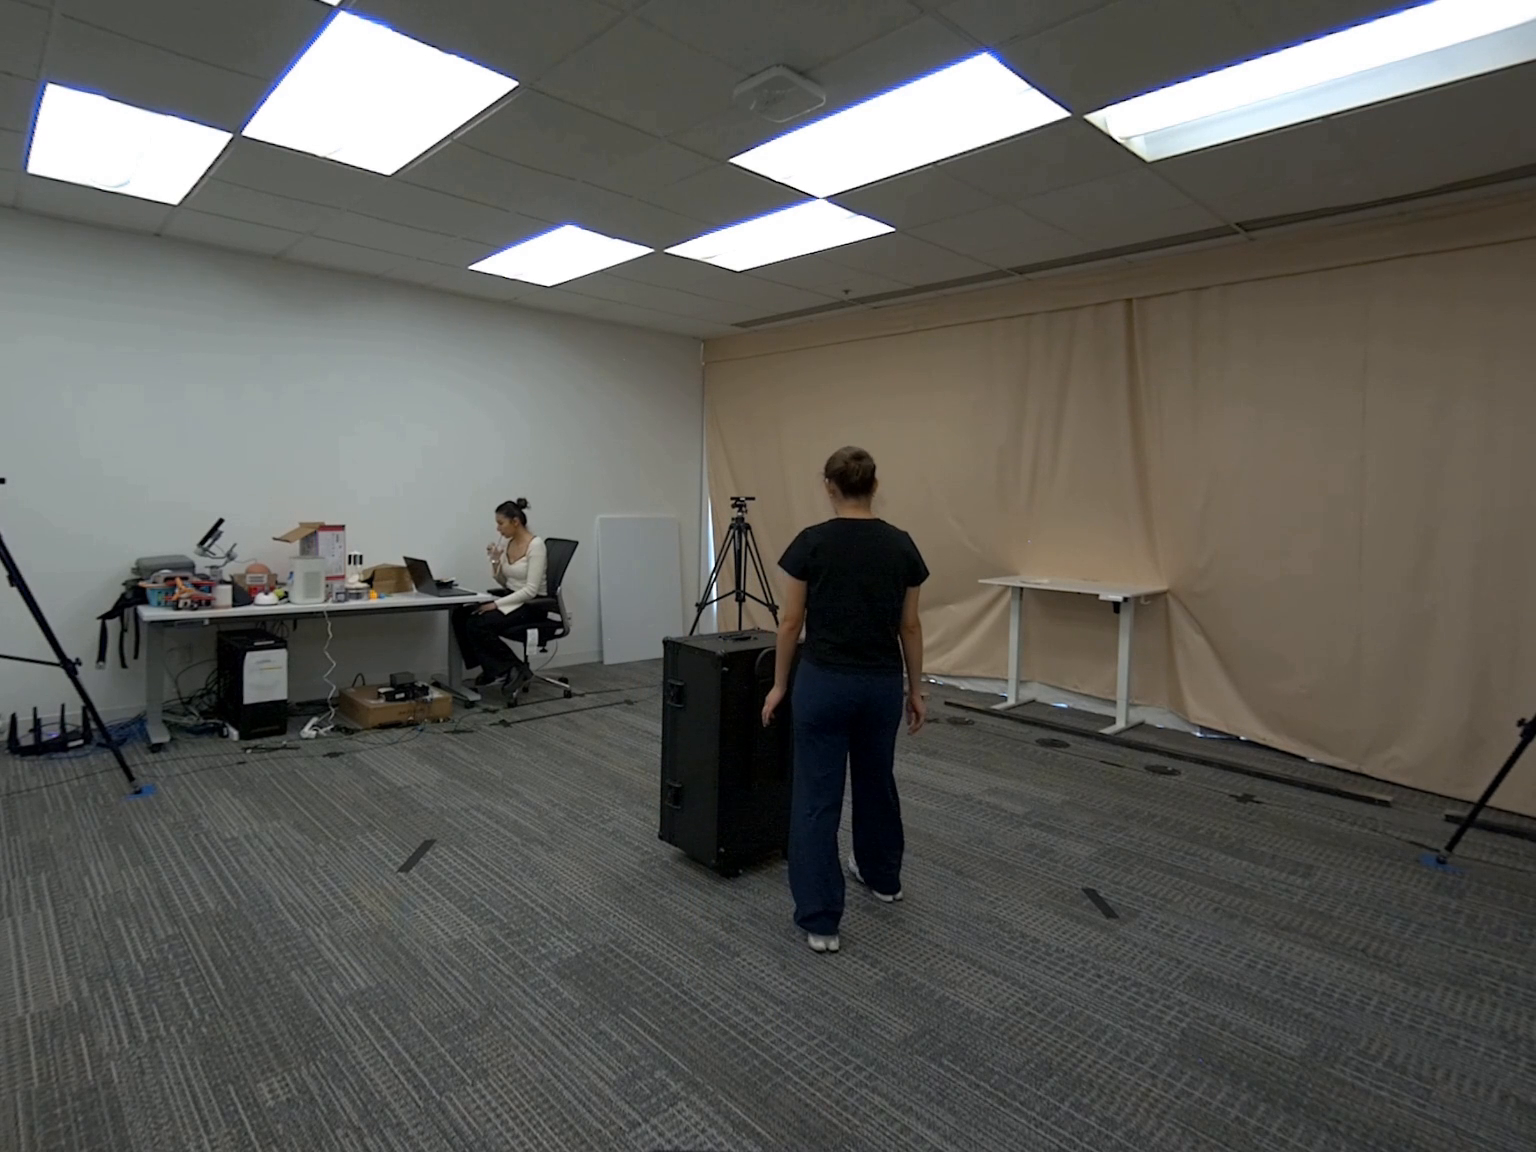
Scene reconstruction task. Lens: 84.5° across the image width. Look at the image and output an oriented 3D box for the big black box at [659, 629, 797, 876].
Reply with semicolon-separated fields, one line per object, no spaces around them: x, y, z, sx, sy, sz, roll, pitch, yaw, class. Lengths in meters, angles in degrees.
-0.111;0.673;3.240;0.509;0.859;0.406;-1;5;-42;big black box
